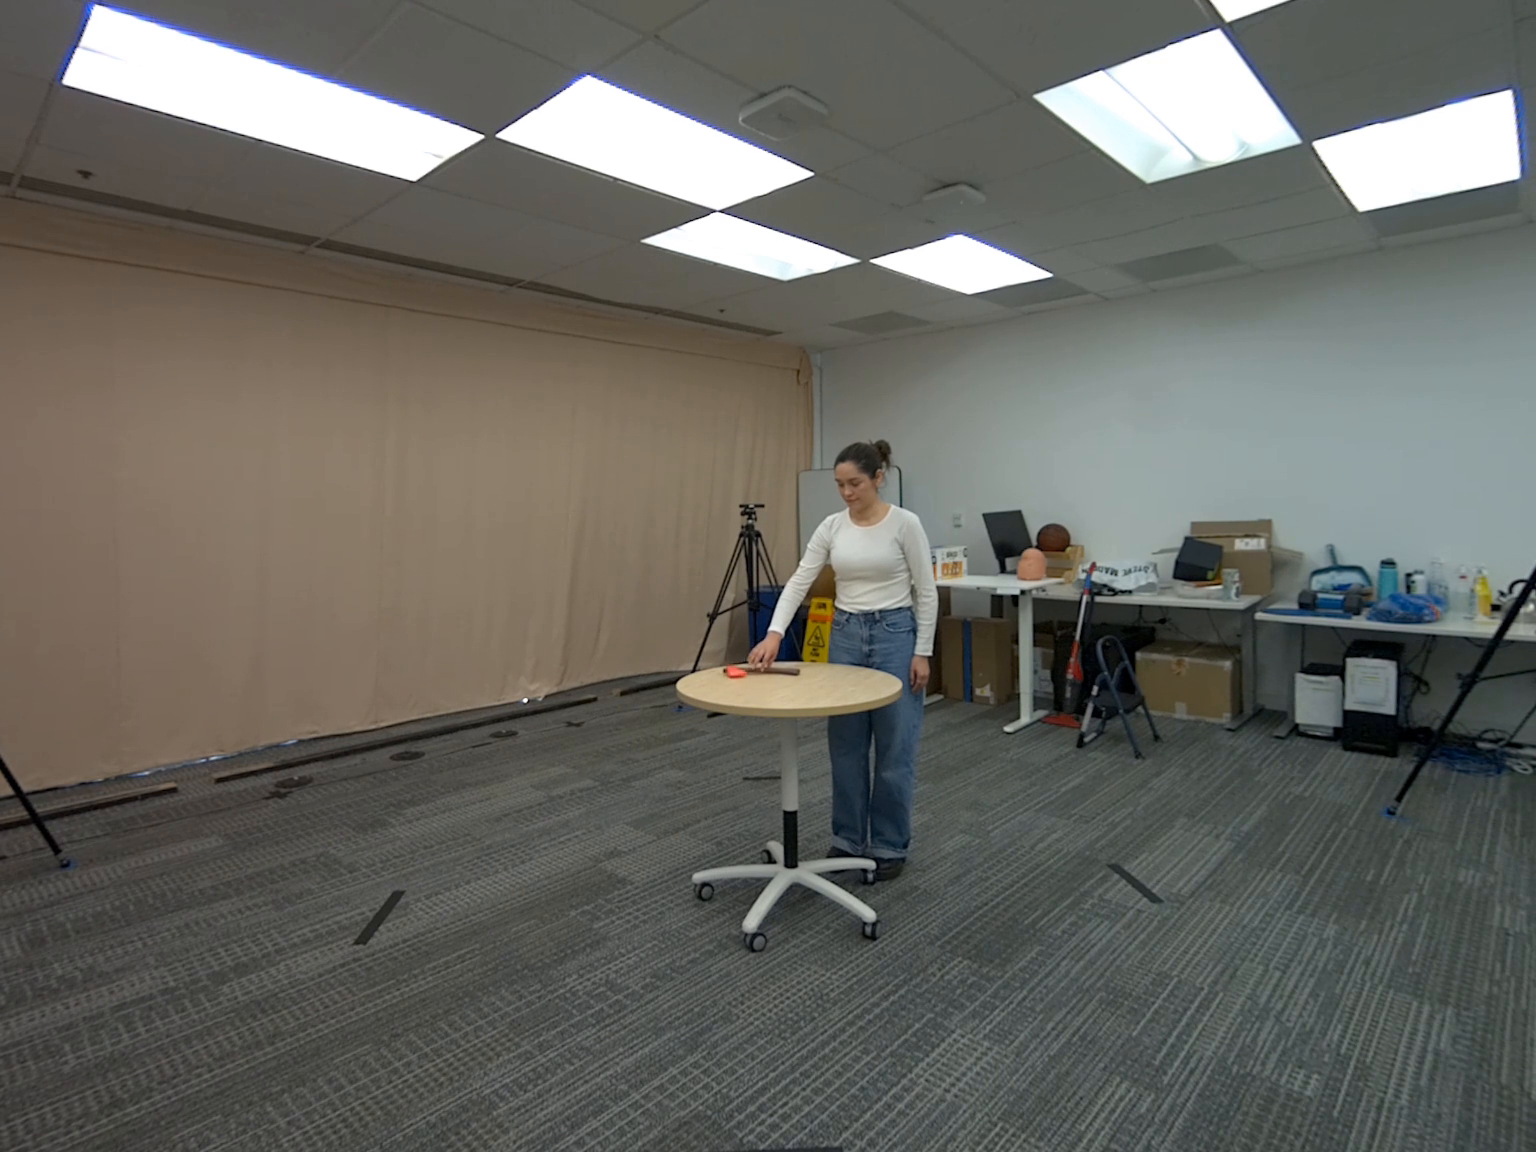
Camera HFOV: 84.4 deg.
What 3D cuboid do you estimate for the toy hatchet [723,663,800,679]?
[{"bbox_3d":[-0.024,0.342,3.005,0.275,0.029,0.129,1,3,17],"label":"toy hatchet"}]
